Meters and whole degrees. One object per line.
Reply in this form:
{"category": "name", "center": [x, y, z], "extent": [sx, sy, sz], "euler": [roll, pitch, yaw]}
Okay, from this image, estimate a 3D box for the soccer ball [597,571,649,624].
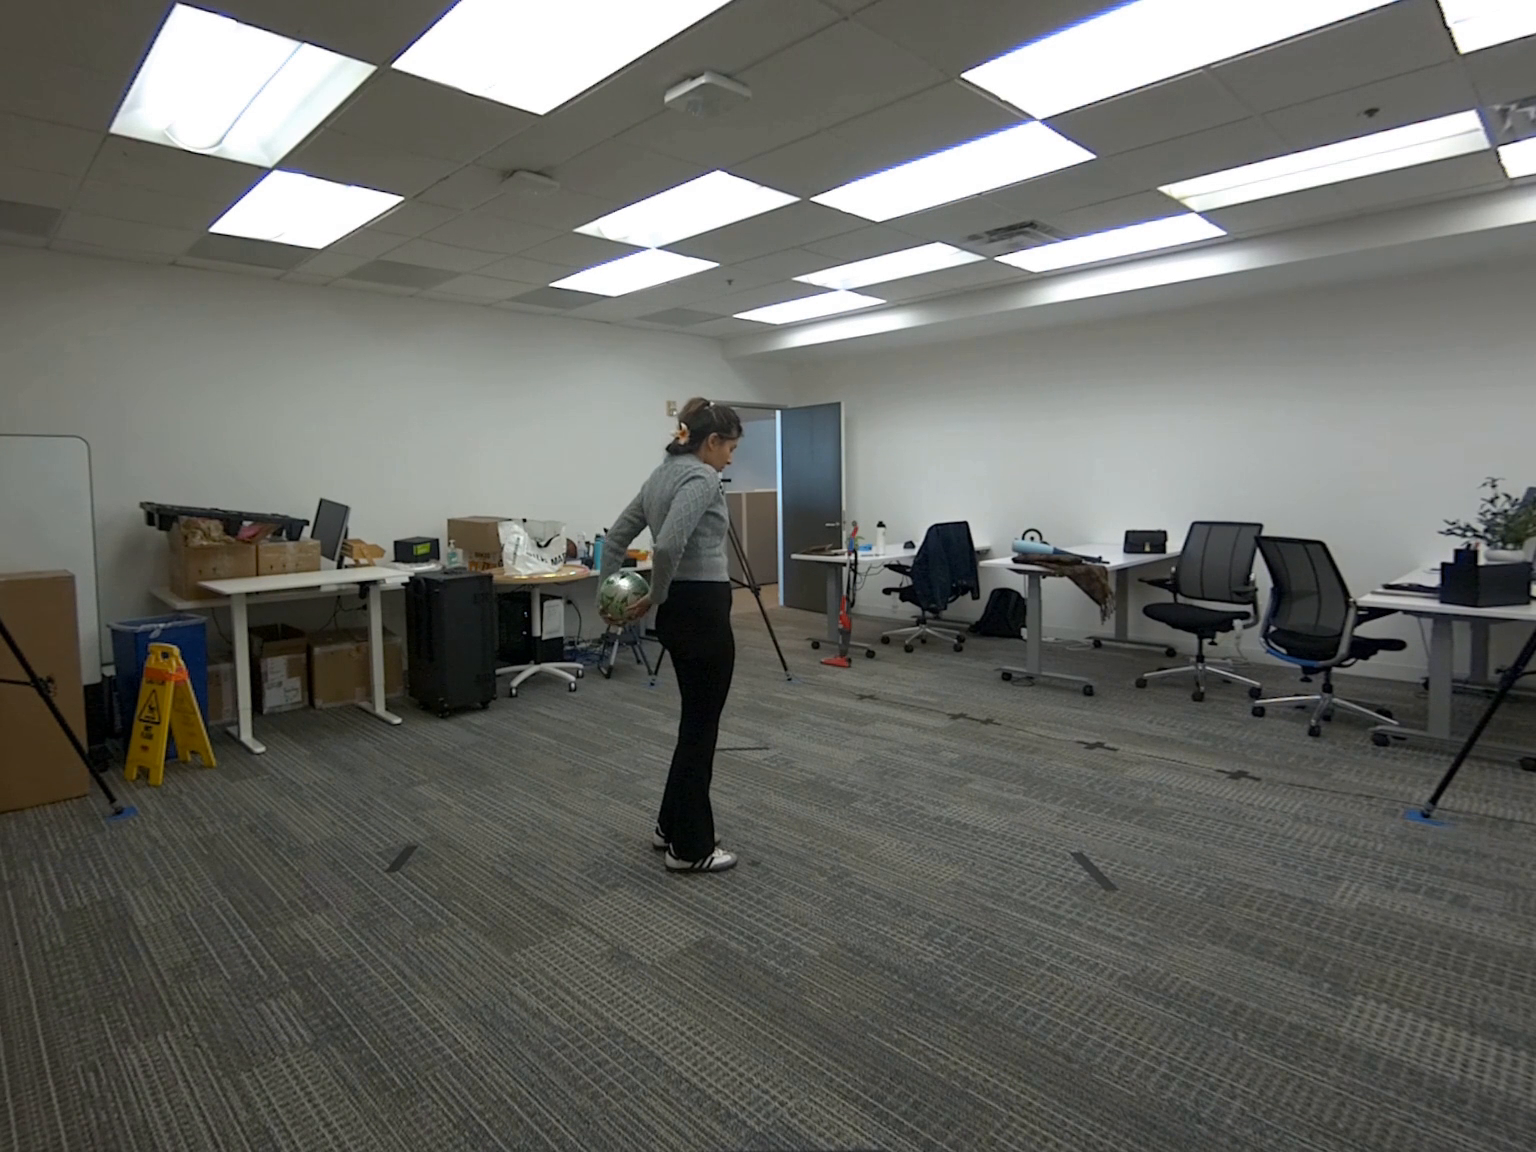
{"category": "soccer ball", "center": [-0.510, 0.074, 3.108], "extent": [0.187, 0.187, 0.188], "euler": [-1, 5, -2]}
